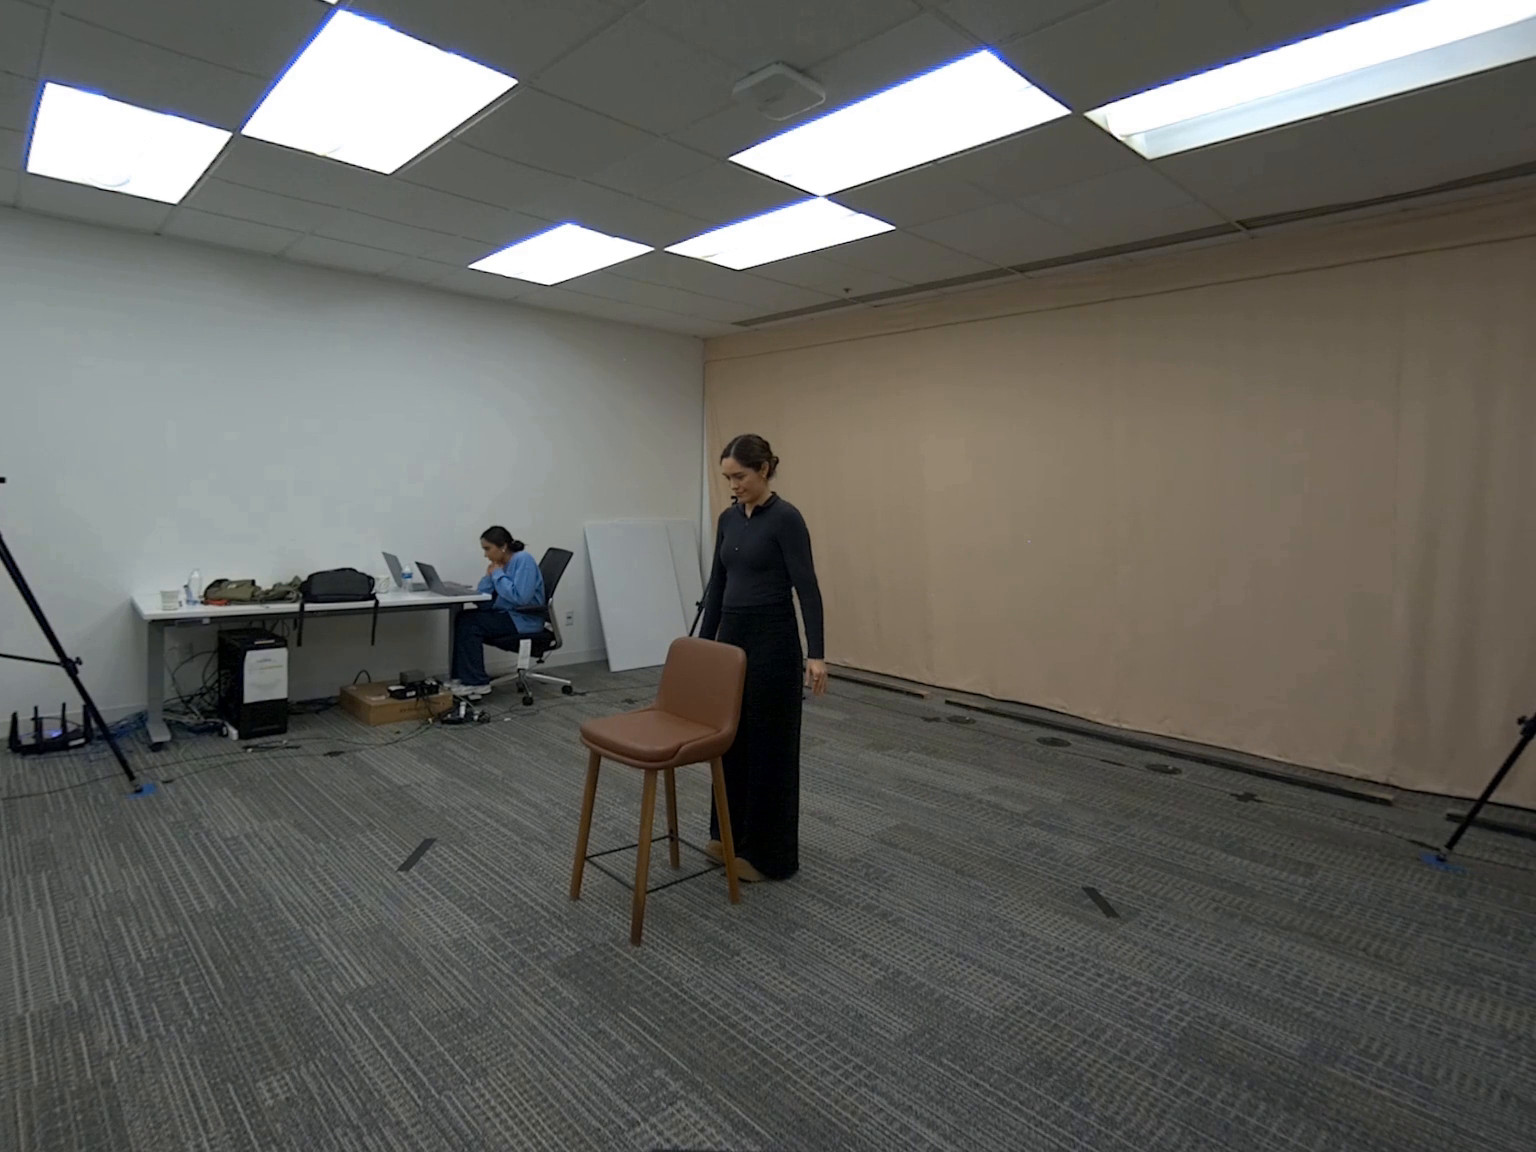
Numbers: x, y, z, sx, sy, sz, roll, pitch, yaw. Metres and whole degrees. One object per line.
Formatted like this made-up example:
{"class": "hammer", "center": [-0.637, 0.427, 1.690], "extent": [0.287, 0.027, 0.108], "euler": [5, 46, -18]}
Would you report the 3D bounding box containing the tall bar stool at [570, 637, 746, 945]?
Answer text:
{"class": "tall bar stool", "center": [-0.371, 0.682, 2.864], "extent": [0.456, 0.888, 0.468], "euler": [1, 3, -41]}
